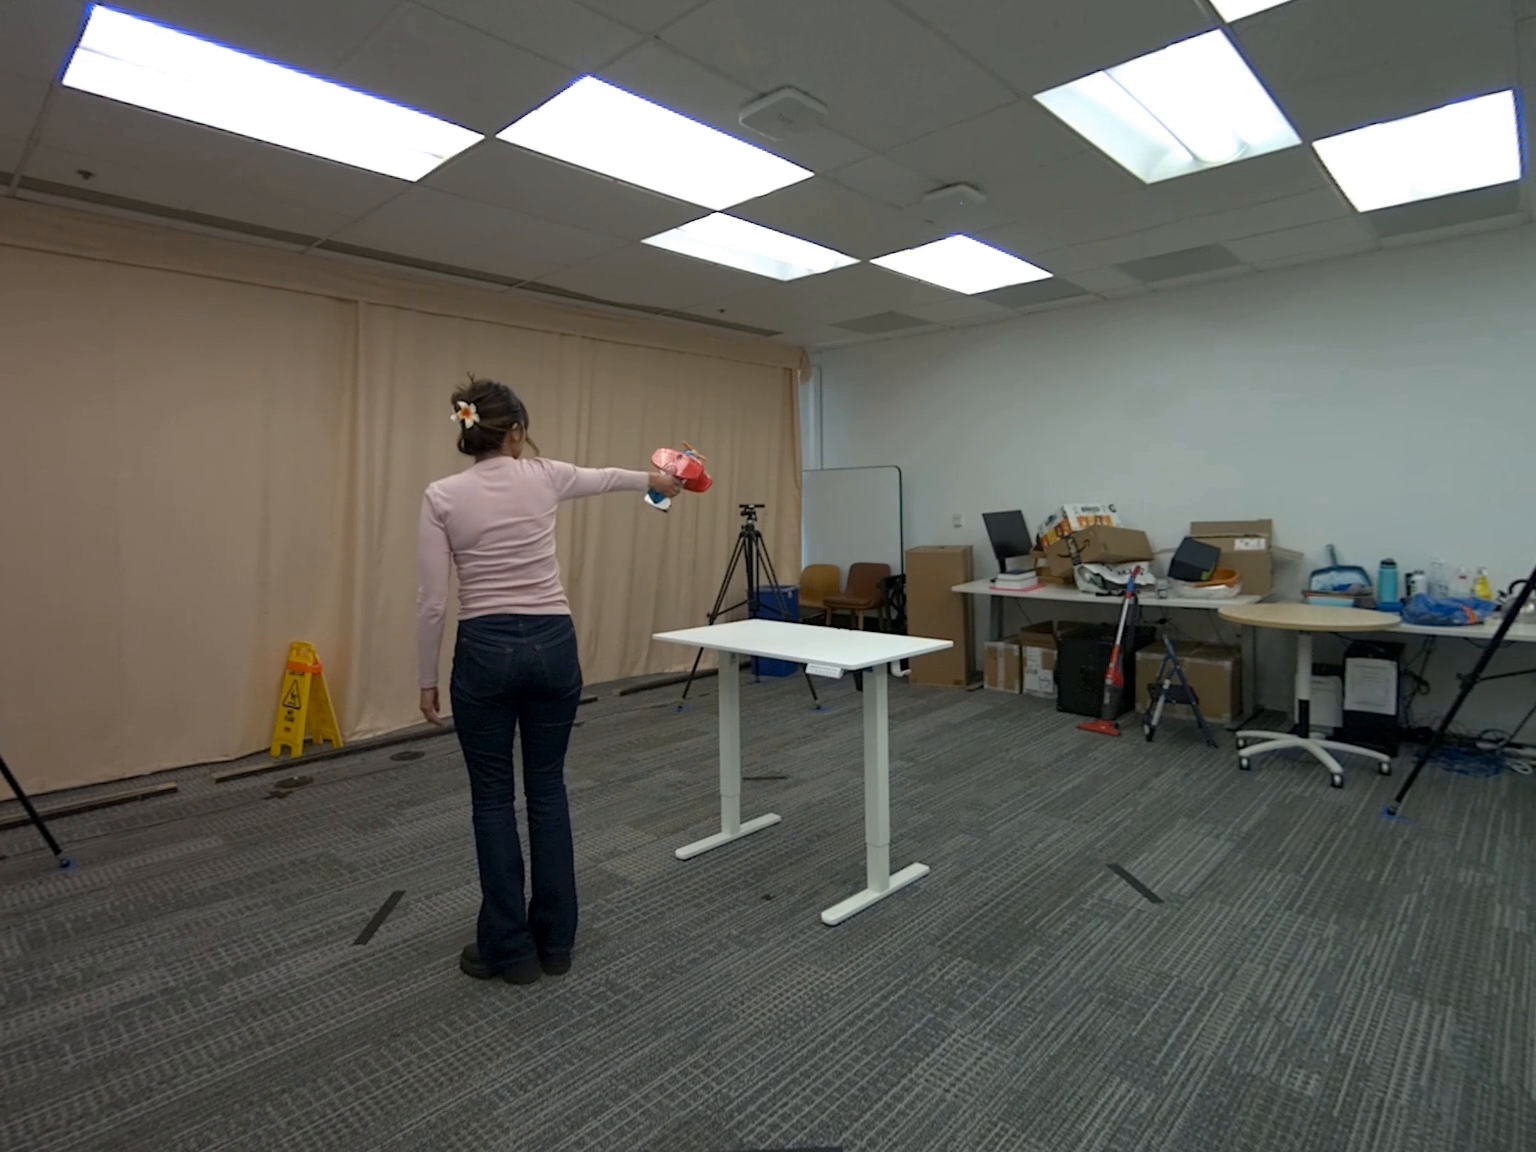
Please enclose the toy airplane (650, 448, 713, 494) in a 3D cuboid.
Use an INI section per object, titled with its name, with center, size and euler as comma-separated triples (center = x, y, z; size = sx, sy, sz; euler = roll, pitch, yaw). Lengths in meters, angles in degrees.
[toy airplane]
center = -0.331, -0.353, 3.133
size = 0.256, 0.152, 0.261
euler = 2, 46, 18
